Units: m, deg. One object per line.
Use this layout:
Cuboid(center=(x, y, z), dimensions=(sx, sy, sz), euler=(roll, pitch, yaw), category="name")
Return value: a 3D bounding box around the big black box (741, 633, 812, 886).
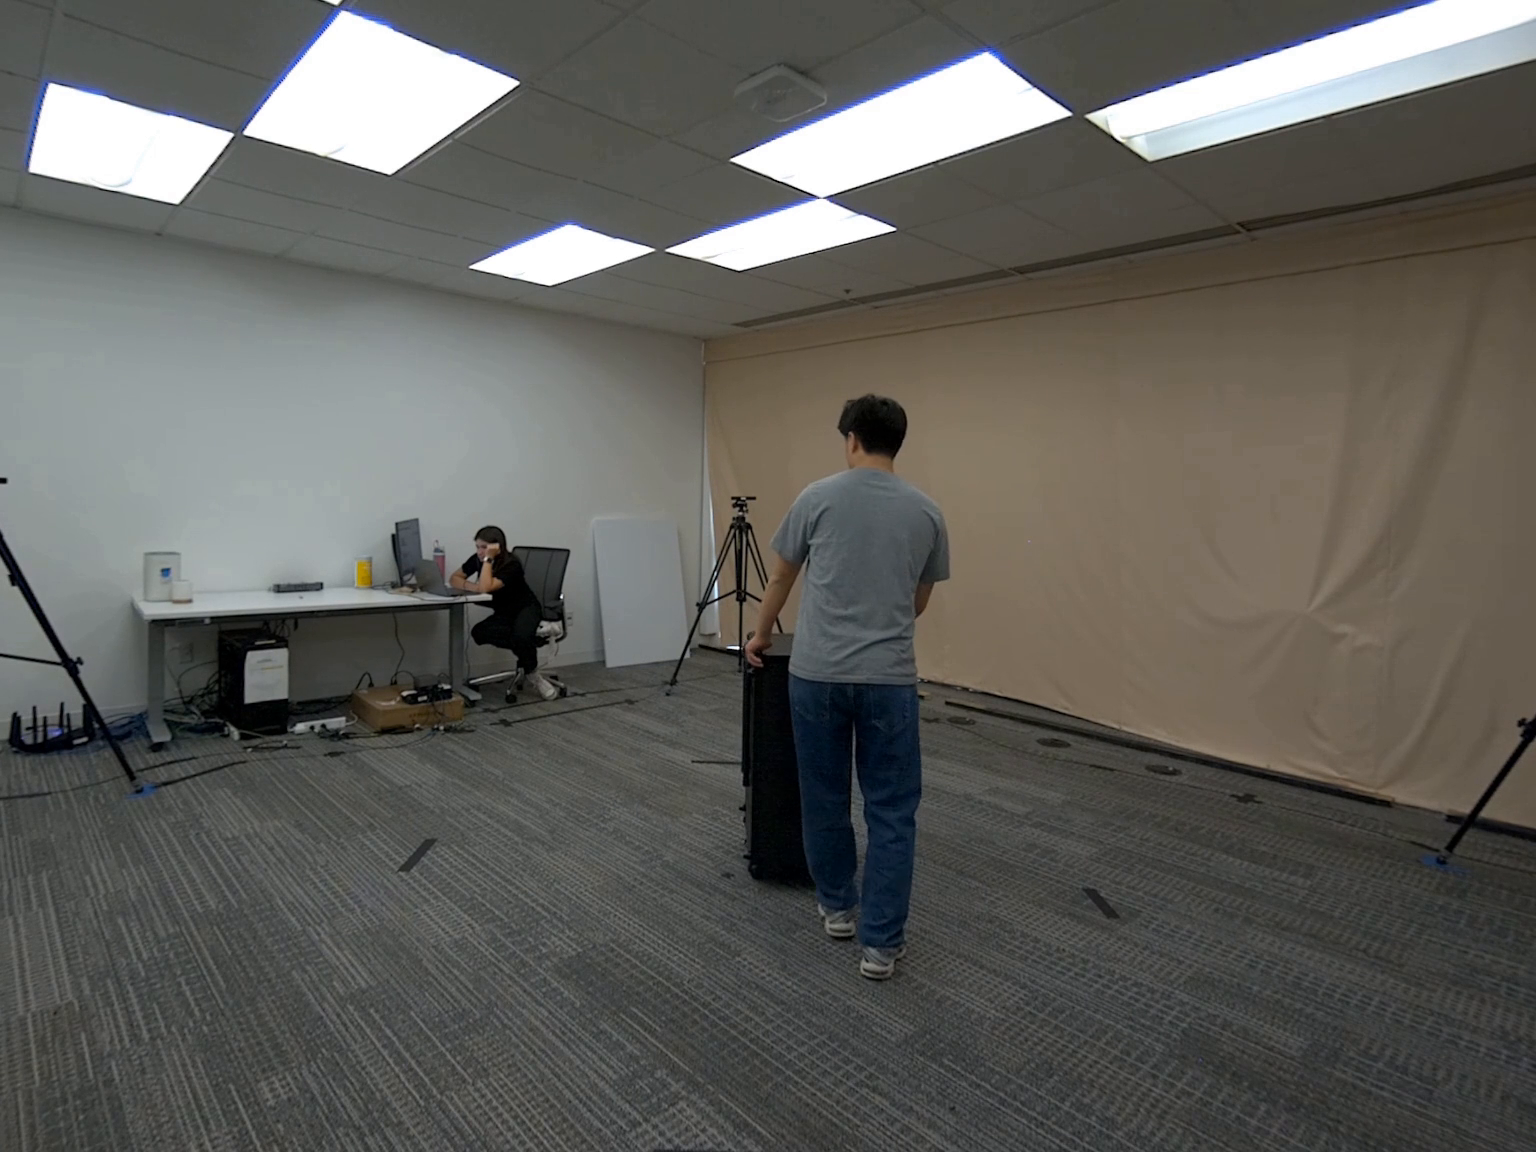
Cuboid(center=(0.087, 0.680, 3.176), dimensions=(0.395, 0.859, 0.524), euler=(1, 4, -3), category="big black box")
